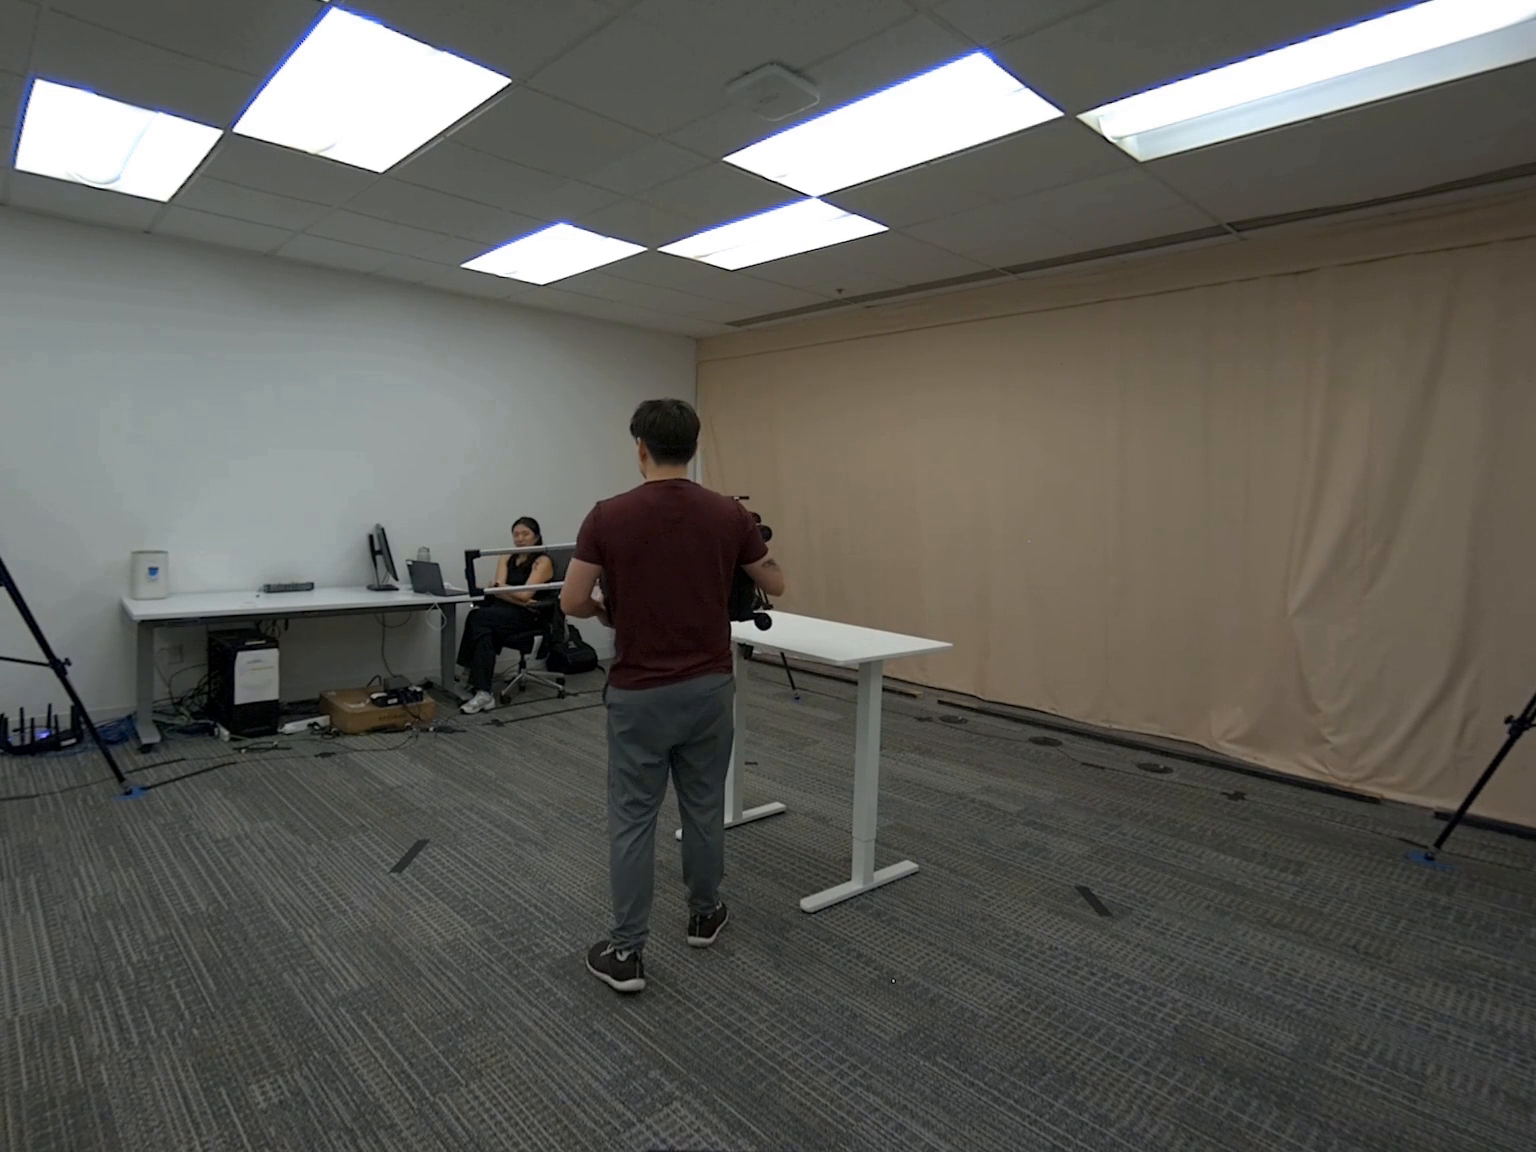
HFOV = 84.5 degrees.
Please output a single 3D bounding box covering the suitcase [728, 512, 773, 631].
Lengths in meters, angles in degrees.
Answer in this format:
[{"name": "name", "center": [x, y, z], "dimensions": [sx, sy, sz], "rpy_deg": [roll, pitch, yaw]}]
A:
[{"name": "suitcase", "center": [-0.487, -0.026, 2.749], "dimensions": [0.975, 0.380, 0.260], "rpy_deg": [0, 13, -5]}]
